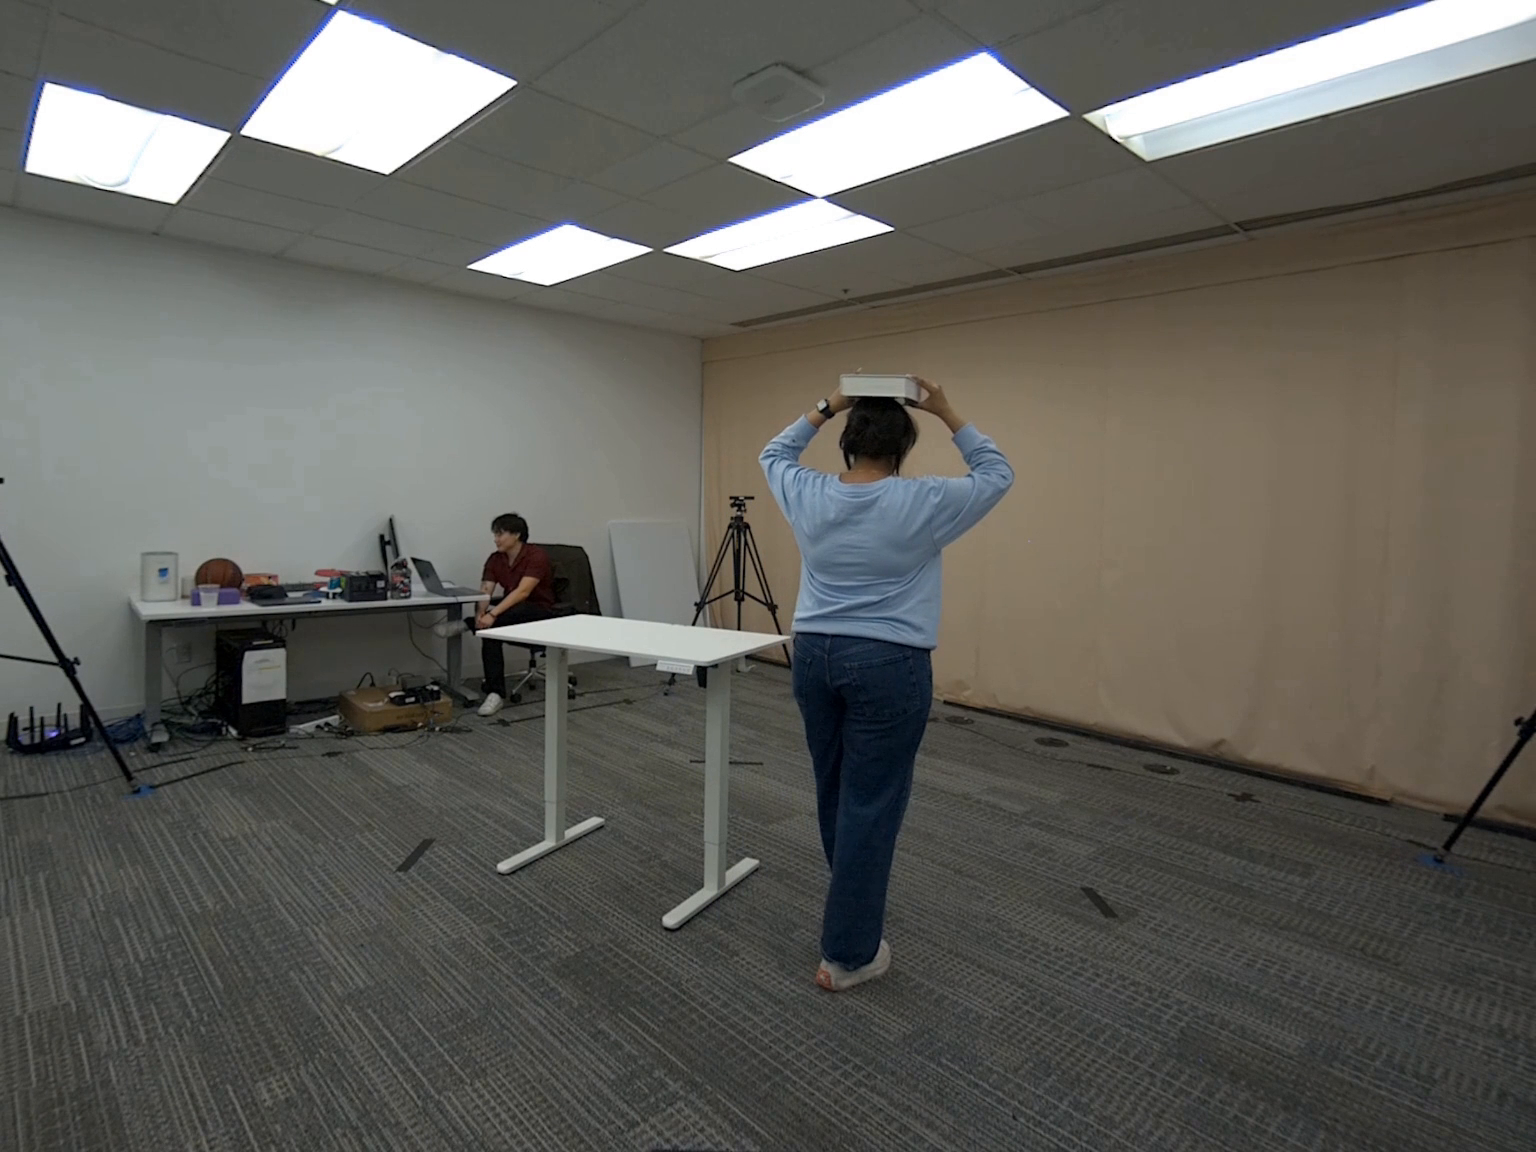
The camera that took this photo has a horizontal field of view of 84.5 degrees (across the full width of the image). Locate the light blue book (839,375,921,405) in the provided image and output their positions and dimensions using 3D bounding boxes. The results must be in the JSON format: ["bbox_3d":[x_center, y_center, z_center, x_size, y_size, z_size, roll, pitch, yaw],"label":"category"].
[{"bbox_3d":[0.337,-0.541,2.437,0.194,0.059,0.258,6,8,16],"label":"light blue book"}]
